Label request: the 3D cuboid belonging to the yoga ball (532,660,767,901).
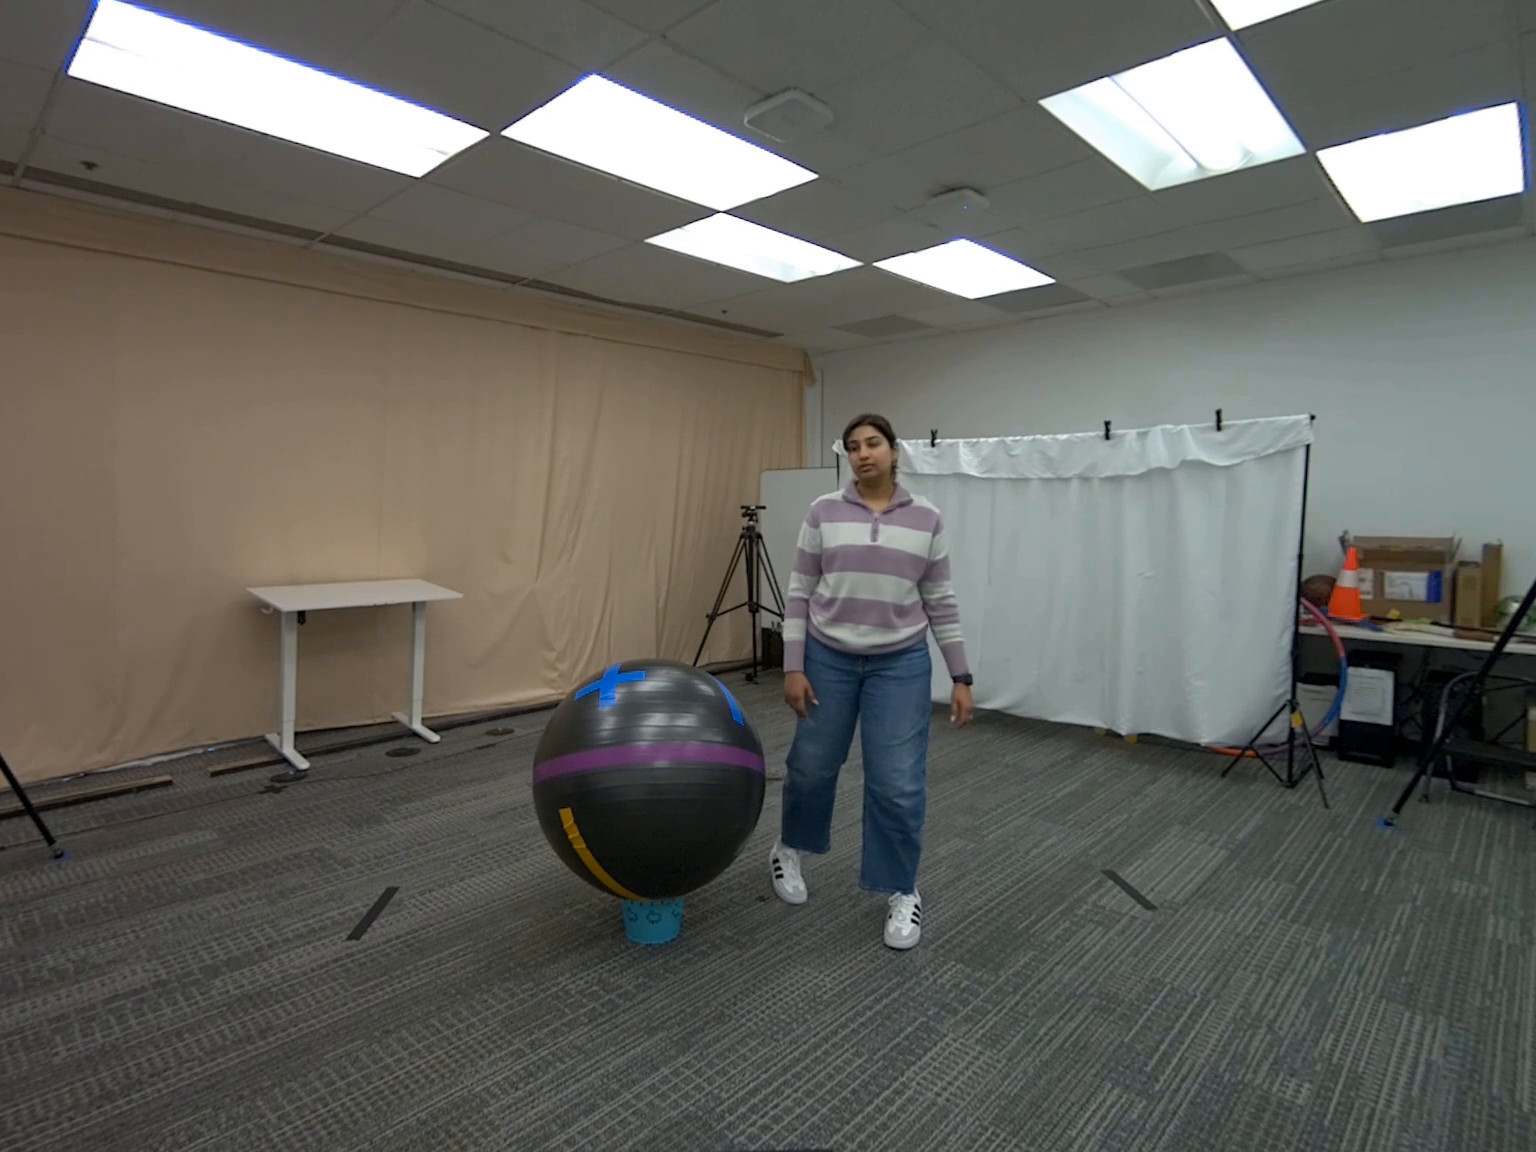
[{"bbox_3d":[-0.388,0.660,2.758,0.757,0.756,0.760,0,4,-2],"label":"yoga ball"}]
